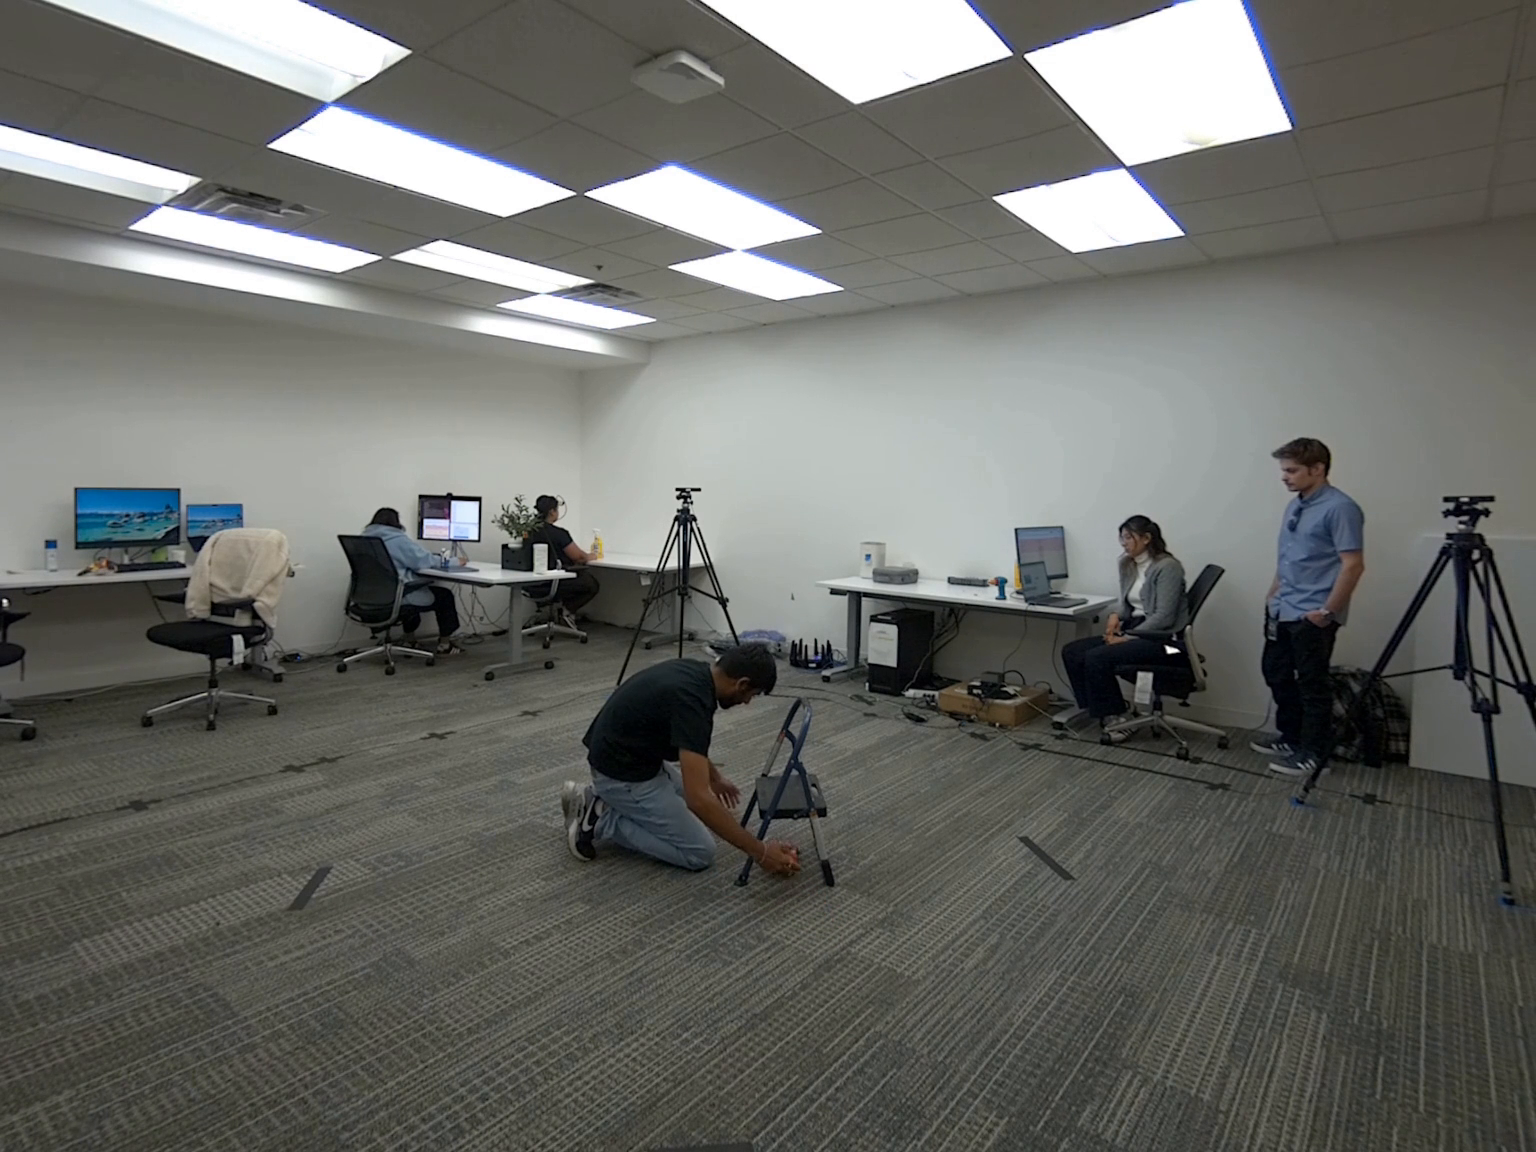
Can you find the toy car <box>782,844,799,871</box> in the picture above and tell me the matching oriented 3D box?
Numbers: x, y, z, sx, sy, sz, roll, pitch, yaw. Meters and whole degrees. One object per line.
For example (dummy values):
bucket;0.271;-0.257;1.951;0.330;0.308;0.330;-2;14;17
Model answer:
toy car;0.052;1.051;3.081;0.129;0.083;0.256;-3;-1;-9
